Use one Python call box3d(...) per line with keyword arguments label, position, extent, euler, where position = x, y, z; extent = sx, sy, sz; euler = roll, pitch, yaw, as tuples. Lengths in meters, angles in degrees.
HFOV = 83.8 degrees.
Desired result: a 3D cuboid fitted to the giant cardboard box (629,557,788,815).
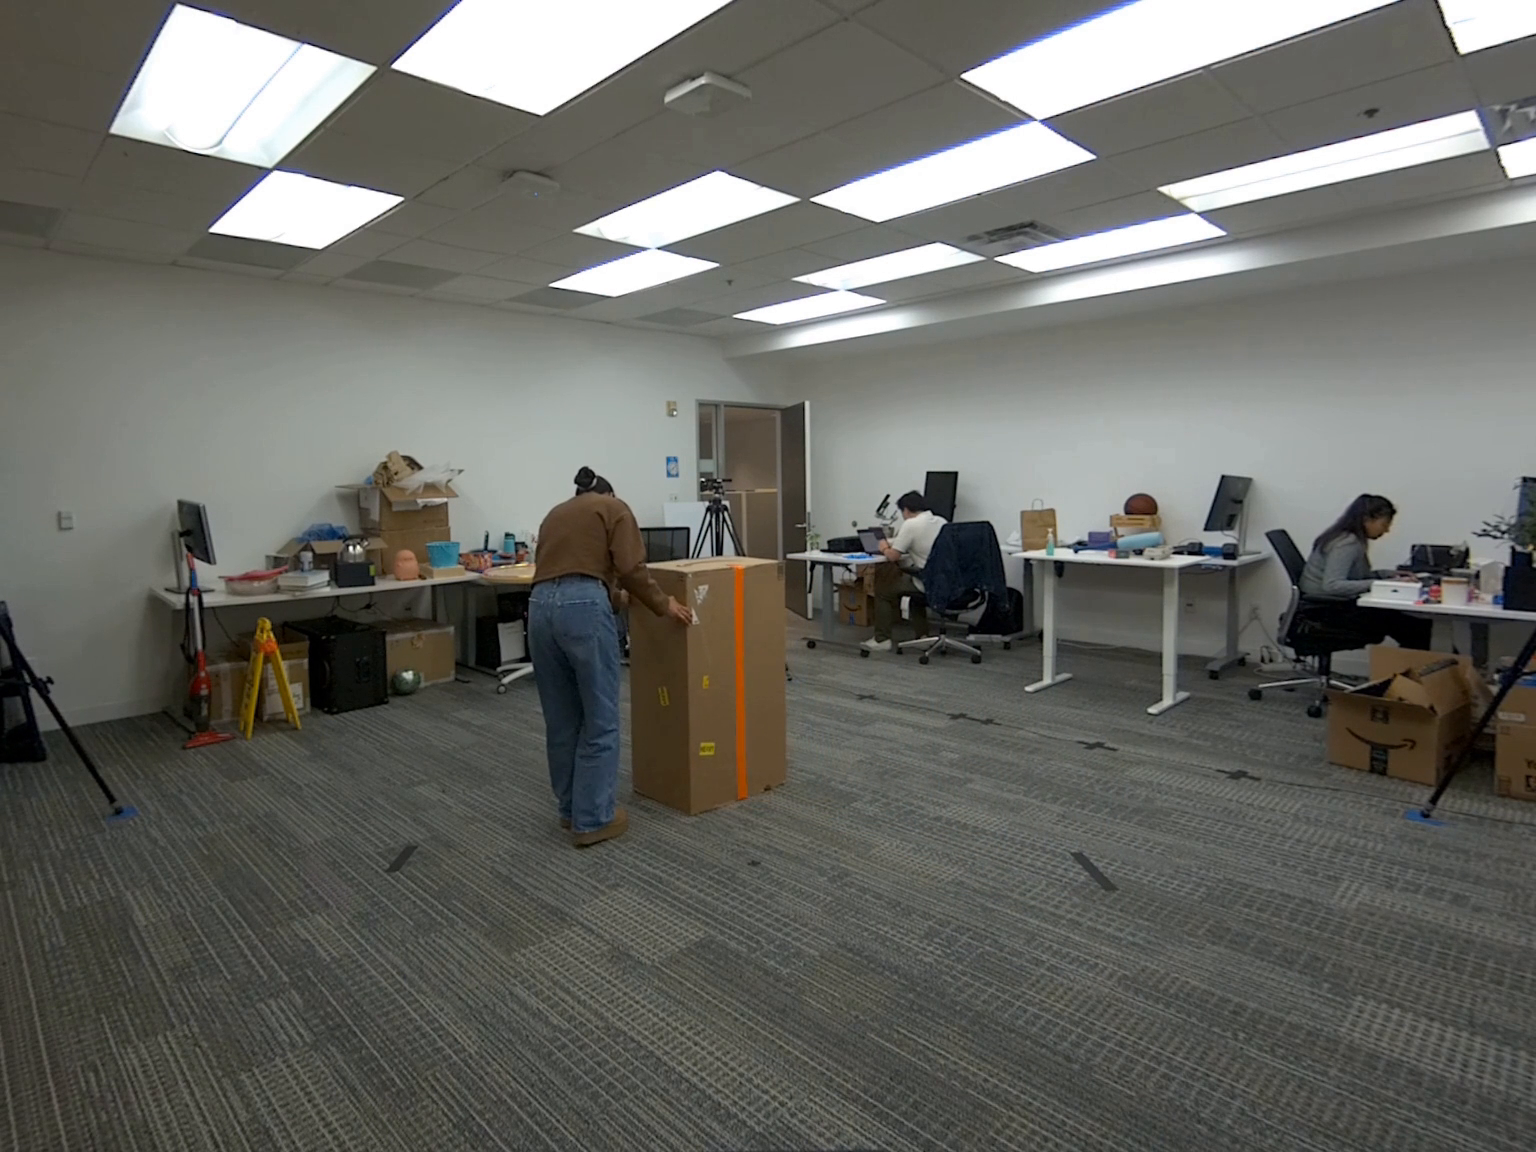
box3d(label="giant cardboard box", position=(-0.264, 0.455, 3.863), extent=(0.562, 1.022, 0.439), euler=(-5, 6, -42))
